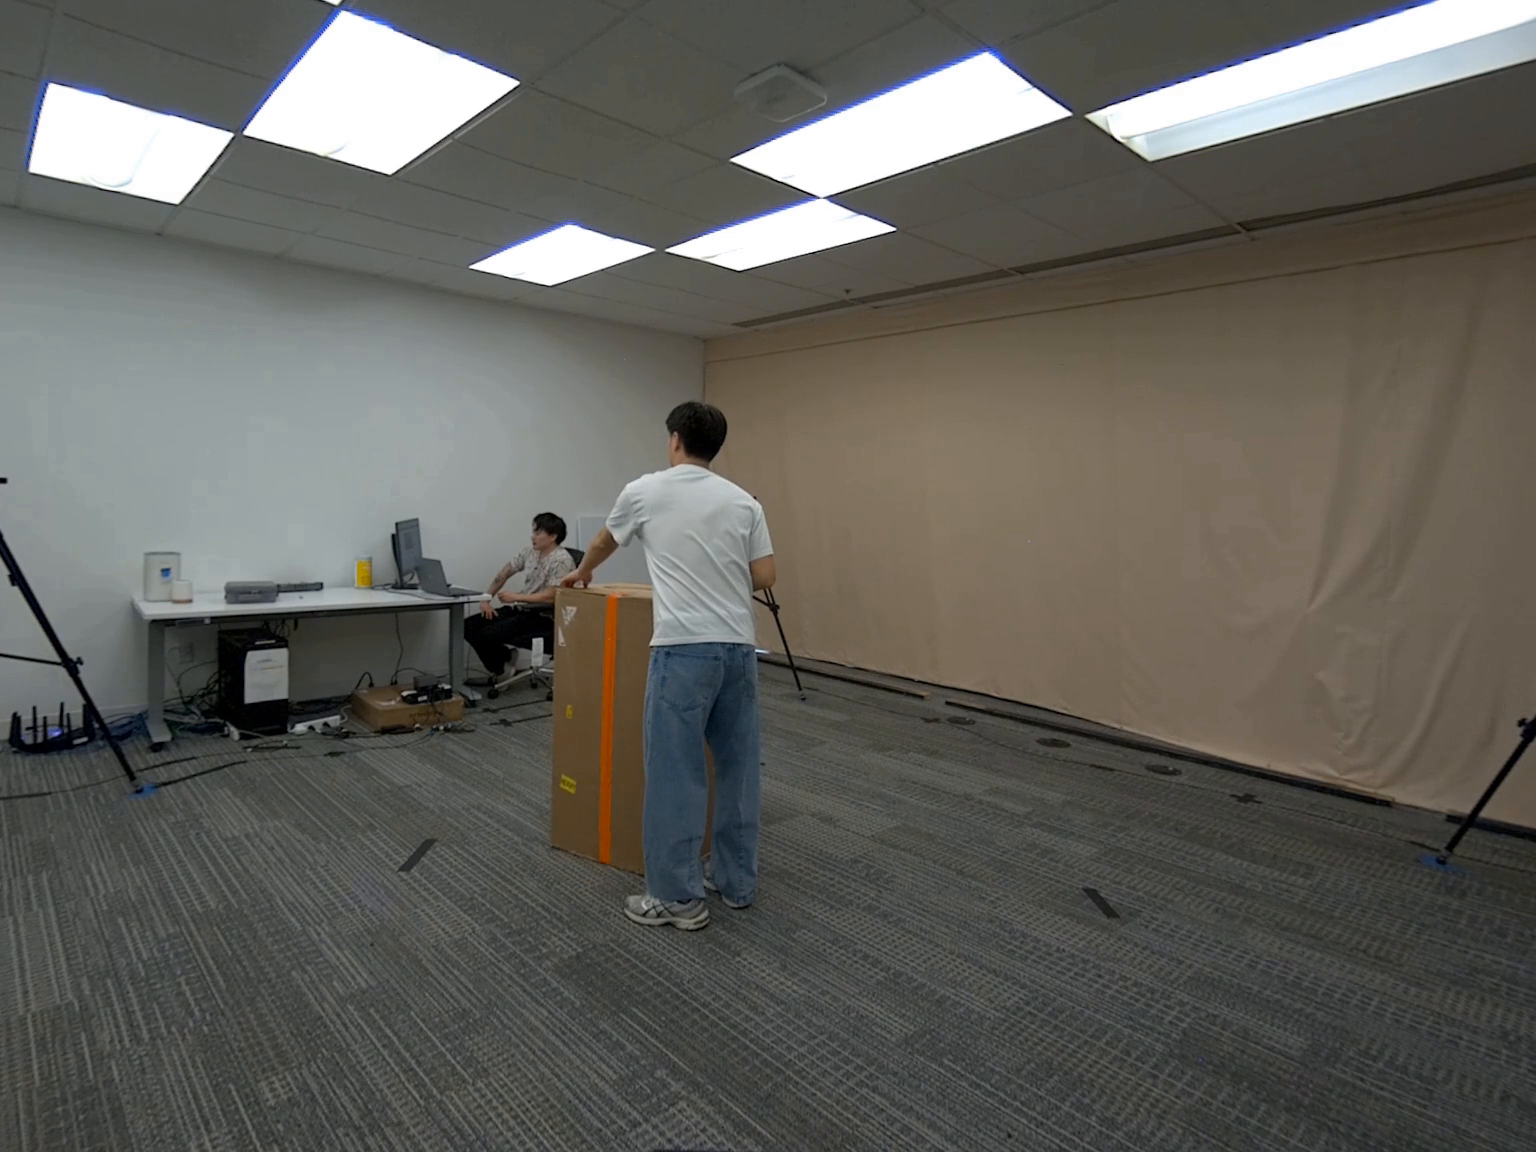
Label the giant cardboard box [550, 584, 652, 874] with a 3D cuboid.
[{"bbox_3d":[-0.504,0.565,3.341,0.590,1.024,0.418,4,3,29],"label":"giant cardboard box"}]
